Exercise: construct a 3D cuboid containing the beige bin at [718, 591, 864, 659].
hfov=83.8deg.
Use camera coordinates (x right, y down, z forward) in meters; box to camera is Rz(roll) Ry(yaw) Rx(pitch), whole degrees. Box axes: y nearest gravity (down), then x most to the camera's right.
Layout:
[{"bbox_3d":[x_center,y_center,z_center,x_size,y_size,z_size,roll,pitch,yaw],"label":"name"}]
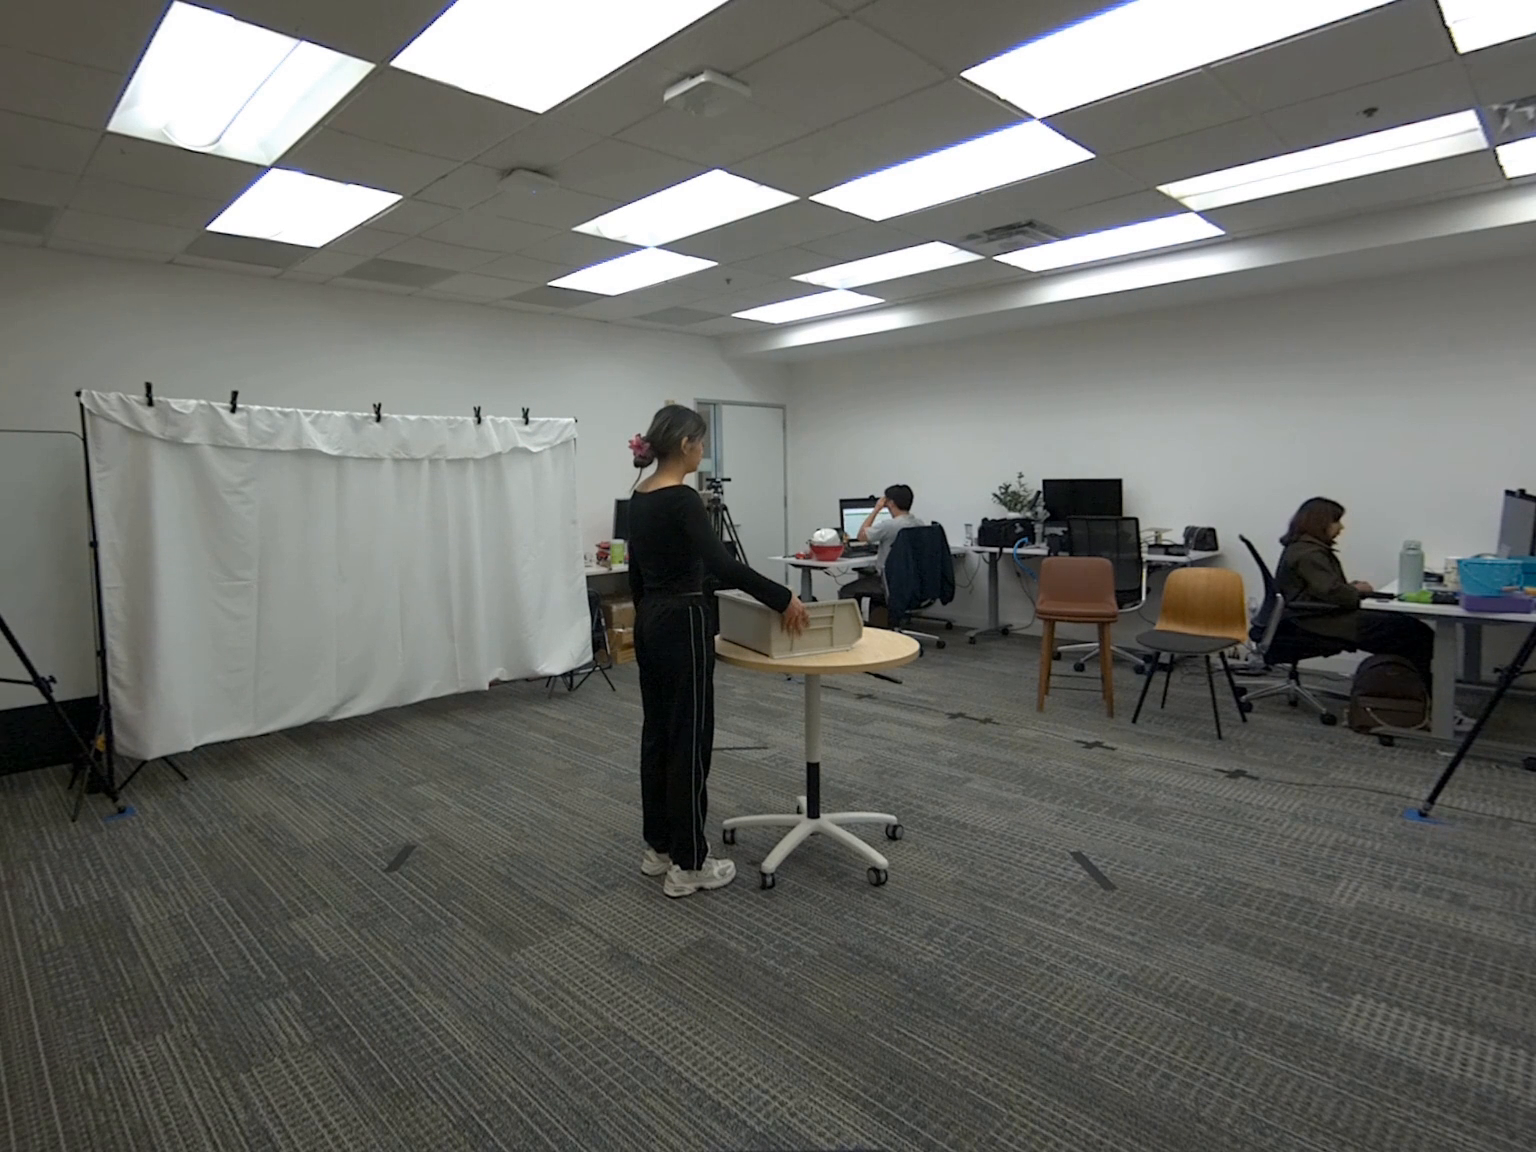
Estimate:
[{"bbox_3d":[0.069,0.155,3.099,0.369,0.188,0.434,-5,8,-28],"label":"beige bin"}]
